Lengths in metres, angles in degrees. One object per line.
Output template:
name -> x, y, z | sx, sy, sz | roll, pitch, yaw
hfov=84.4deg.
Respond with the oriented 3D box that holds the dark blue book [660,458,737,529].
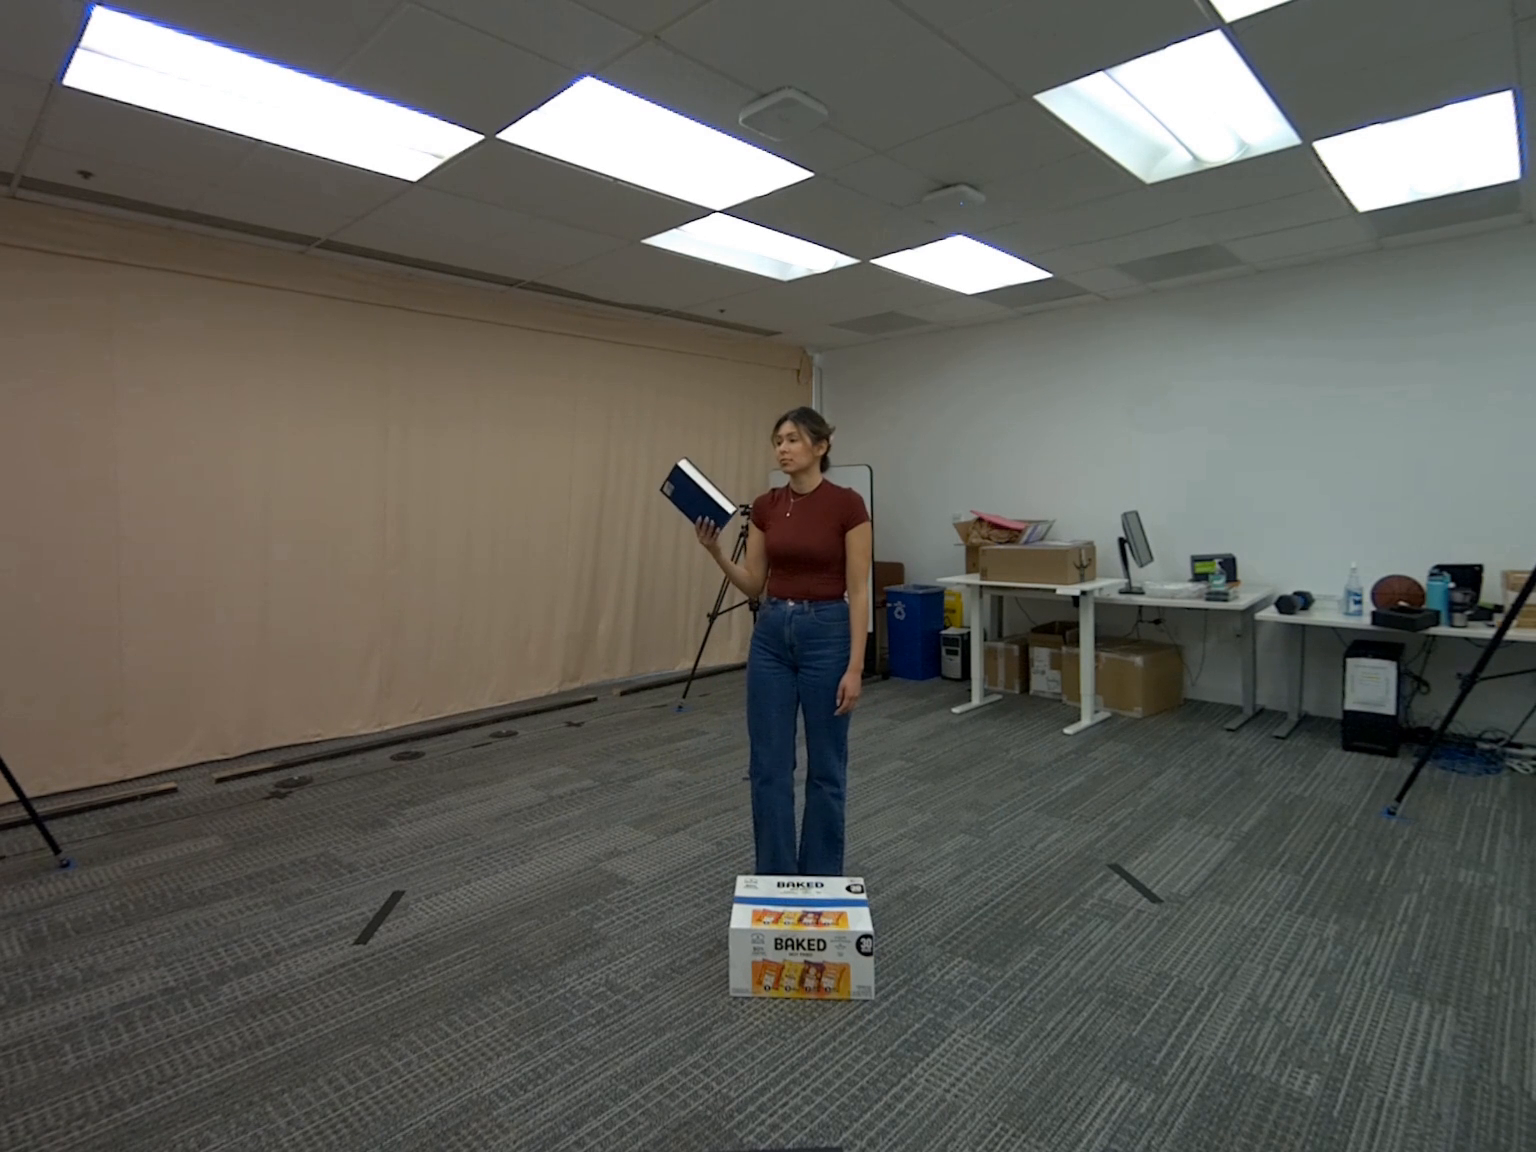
dark blue book -> -0.224, -0.249, 2.747 | 0.044, 0.246, 0.164 | -42, -6, -41
